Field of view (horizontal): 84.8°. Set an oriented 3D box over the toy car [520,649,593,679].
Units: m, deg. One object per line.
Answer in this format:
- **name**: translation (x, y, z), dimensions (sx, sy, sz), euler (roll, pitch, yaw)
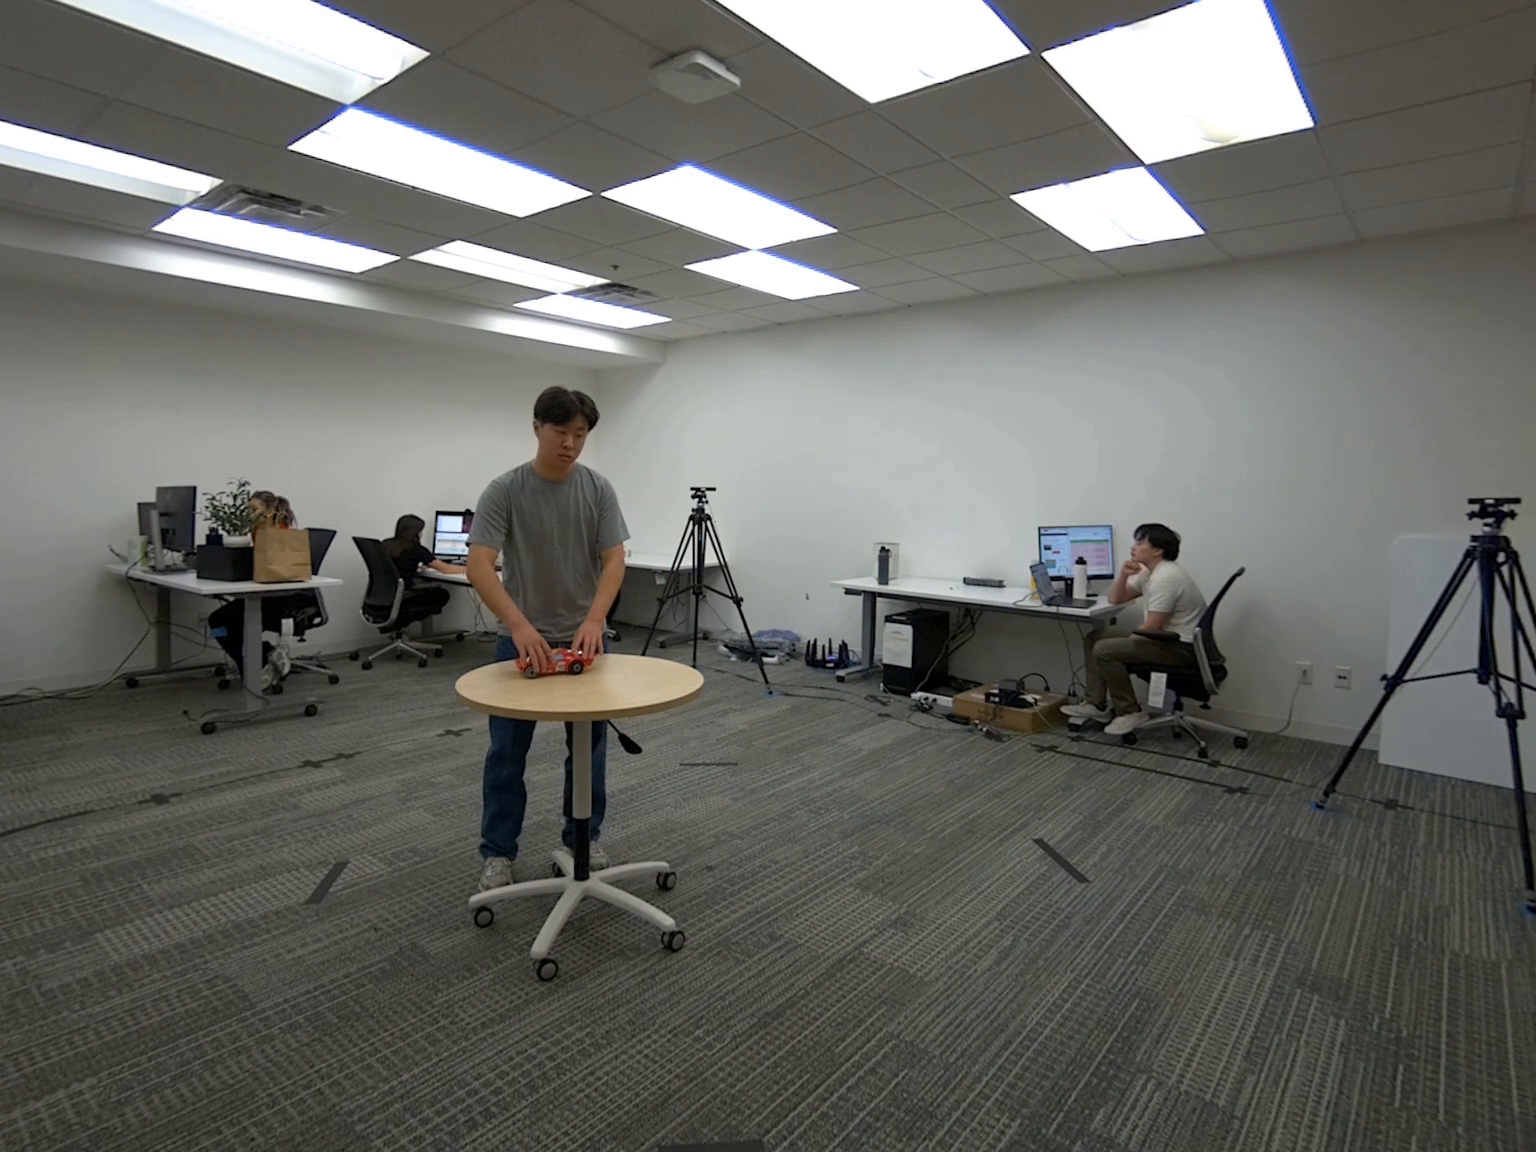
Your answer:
- **toy car**: translation (-0.695, 0.282, 2.740), dimensions (0.250, 0.082, 0.134), euler (-14, 10, -22)
